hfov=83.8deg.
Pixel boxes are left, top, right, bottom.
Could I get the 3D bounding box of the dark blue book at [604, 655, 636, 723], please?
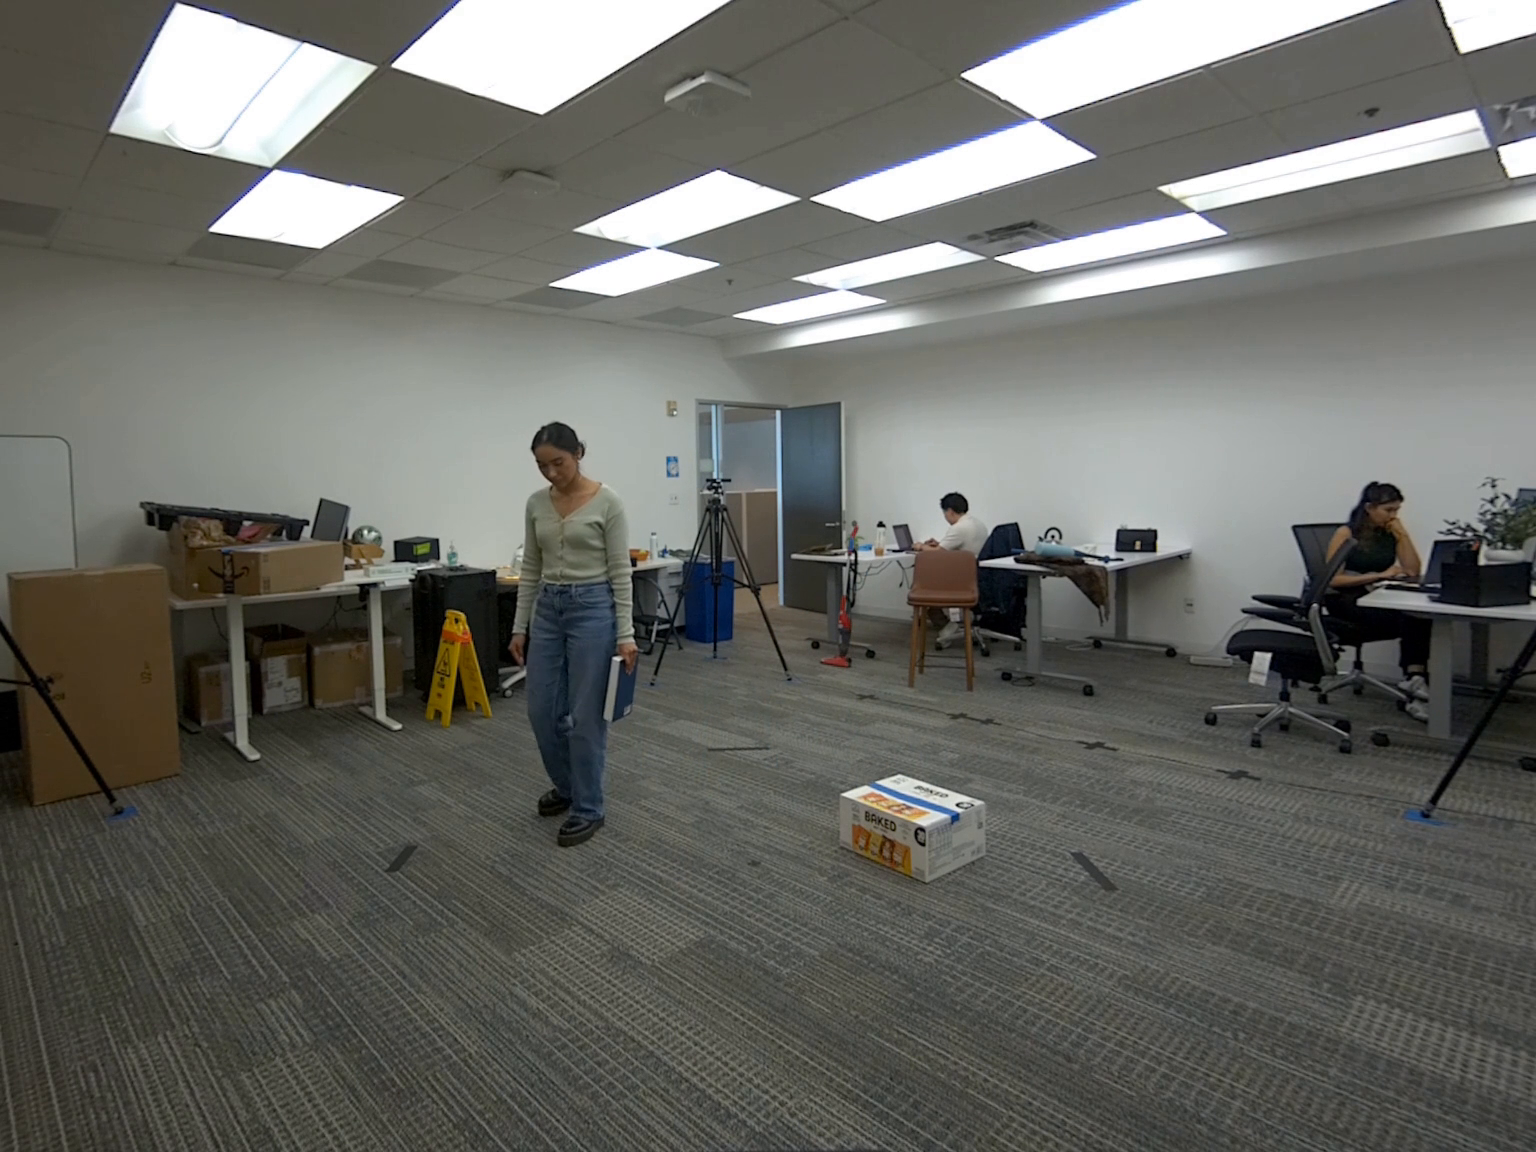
[{"bbox_3d":[-0.578,0.428,3.311,0.046,0.244,0.161,7,4,14],"label":"dark blue book"}]
